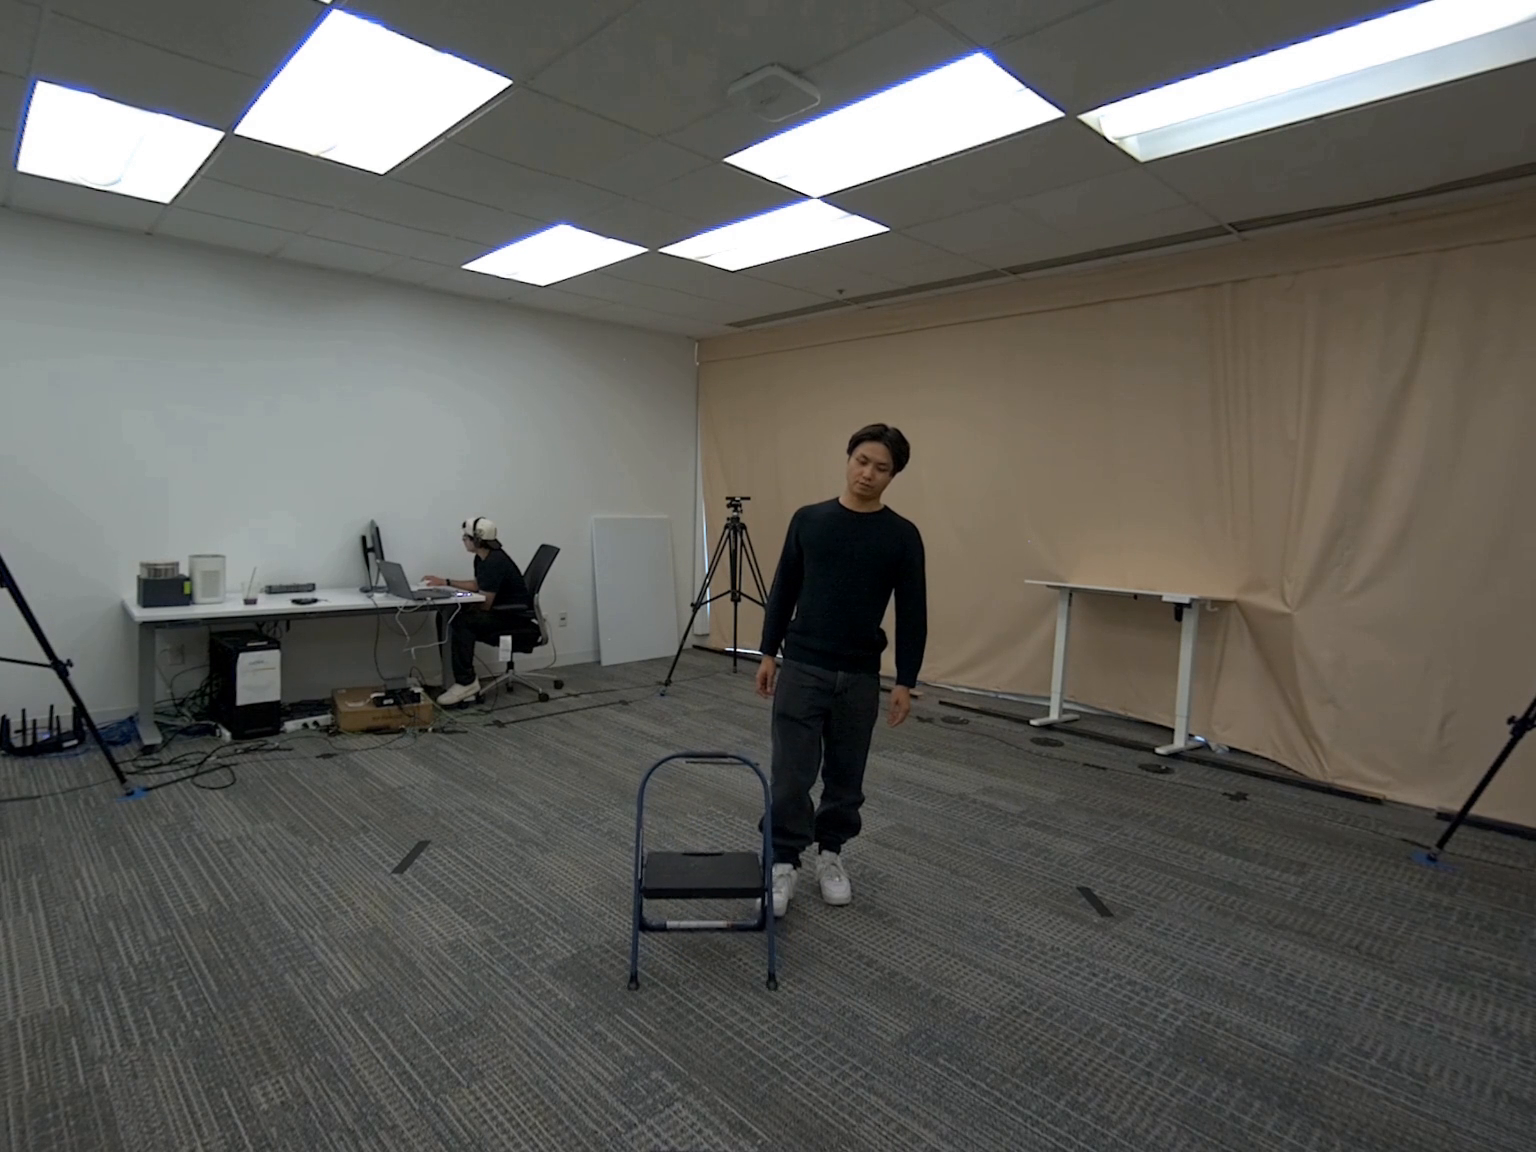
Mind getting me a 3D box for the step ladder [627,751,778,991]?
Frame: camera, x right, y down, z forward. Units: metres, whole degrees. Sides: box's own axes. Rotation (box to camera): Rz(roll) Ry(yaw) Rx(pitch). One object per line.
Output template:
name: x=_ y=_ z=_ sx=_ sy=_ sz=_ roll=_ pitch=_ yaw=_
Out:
step ladder: x=-0.199 y=0.857 z=2.533 sx=0.429 sy=0.604 sz=0.351 roll=1 pitch=4 yaw=-4
